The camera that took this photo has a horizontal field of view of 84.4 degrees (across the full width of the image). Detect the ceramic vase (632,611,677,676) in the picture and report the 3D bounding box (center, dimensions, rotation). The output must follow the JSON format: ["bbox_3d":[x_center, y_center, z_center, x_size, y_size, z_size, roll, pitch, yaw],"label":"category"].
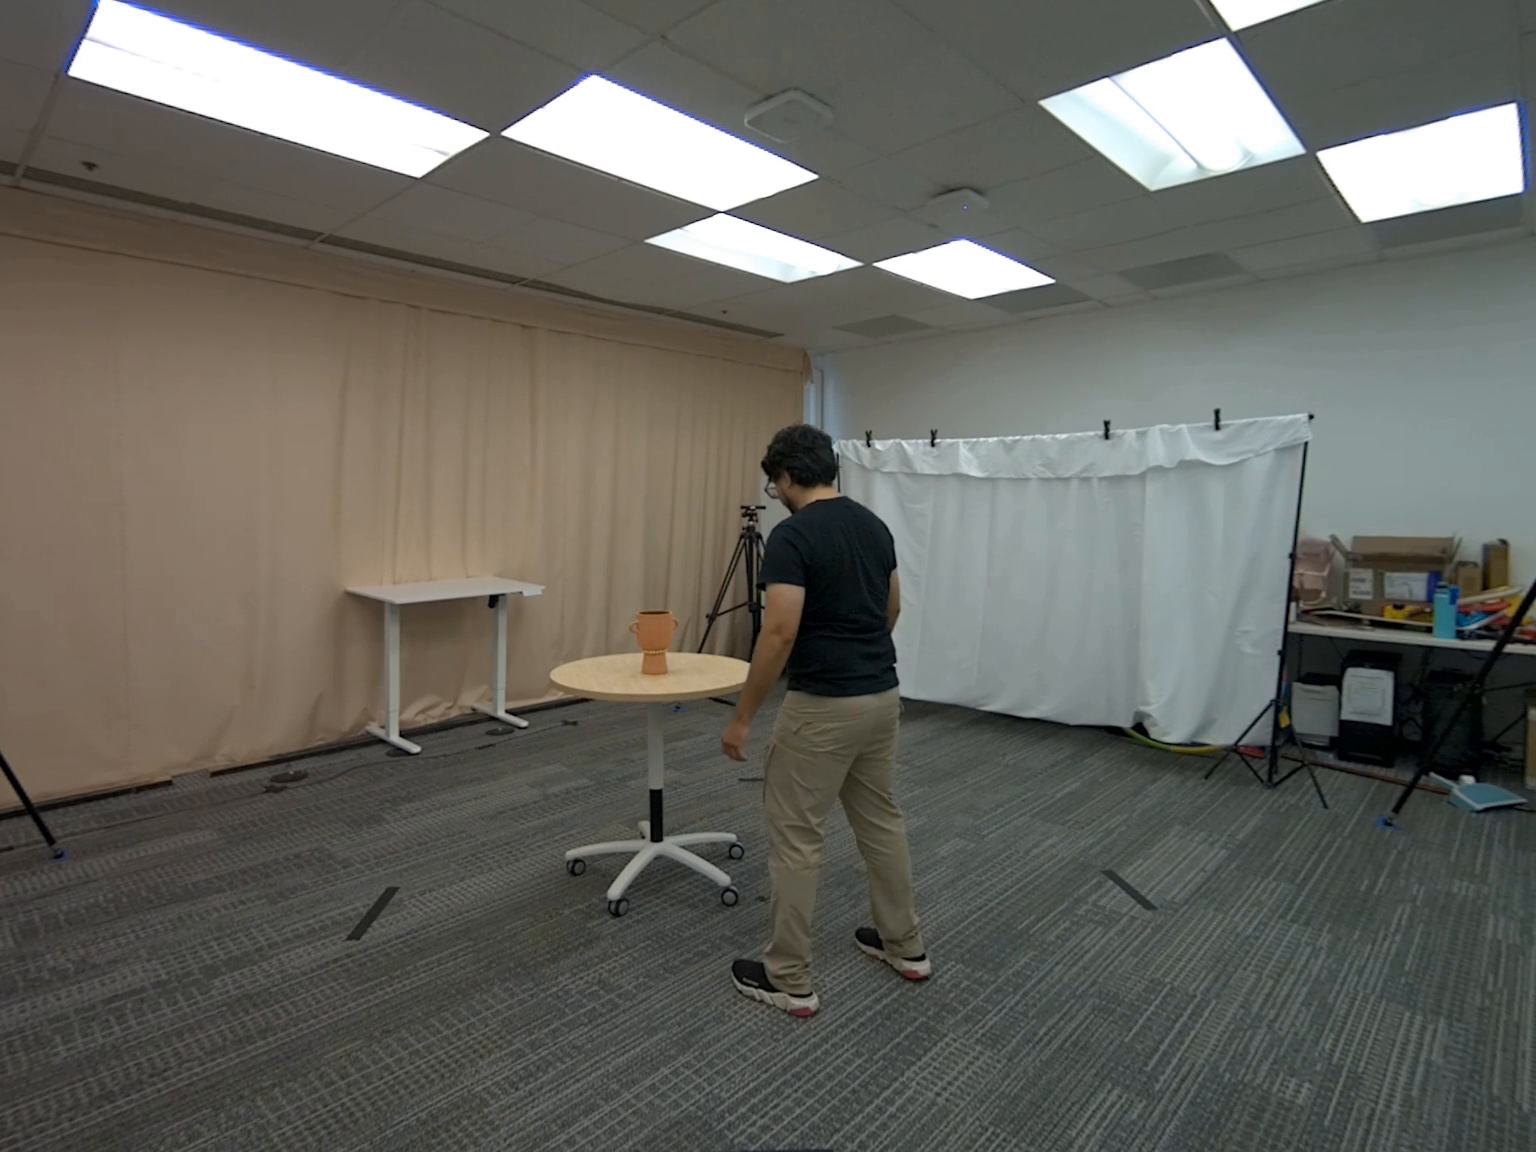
[{"bbox_3d":[-0.423,0.248,3.095,0.160,0.219,0.134,0,4,8],"label":"ceramic vase"}]
